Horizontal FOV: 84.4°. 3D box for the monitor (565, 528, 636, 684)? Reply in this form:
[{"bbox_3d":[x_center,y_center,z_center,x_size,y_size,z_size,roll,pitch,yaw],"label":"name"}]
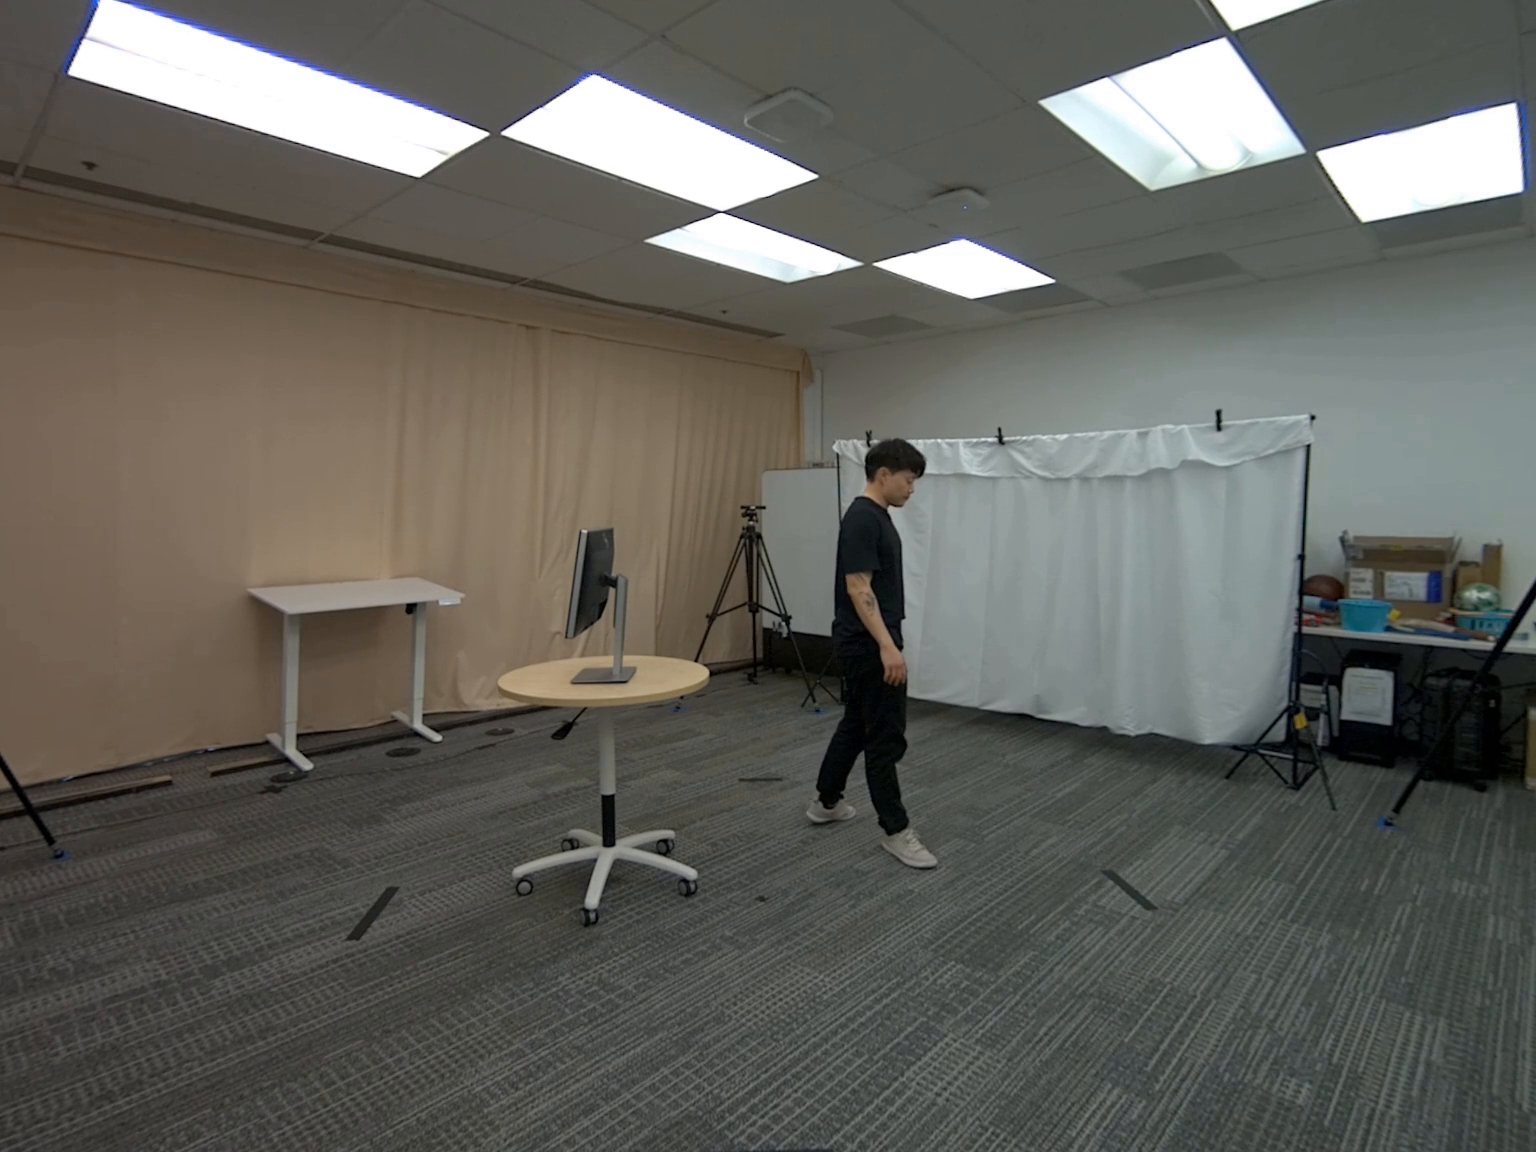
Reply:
[{"bbox_3d":[-0.589,0.102,3.034,0.187,0.521,0.540,-2,4,-2],"label":"monitor"}]
